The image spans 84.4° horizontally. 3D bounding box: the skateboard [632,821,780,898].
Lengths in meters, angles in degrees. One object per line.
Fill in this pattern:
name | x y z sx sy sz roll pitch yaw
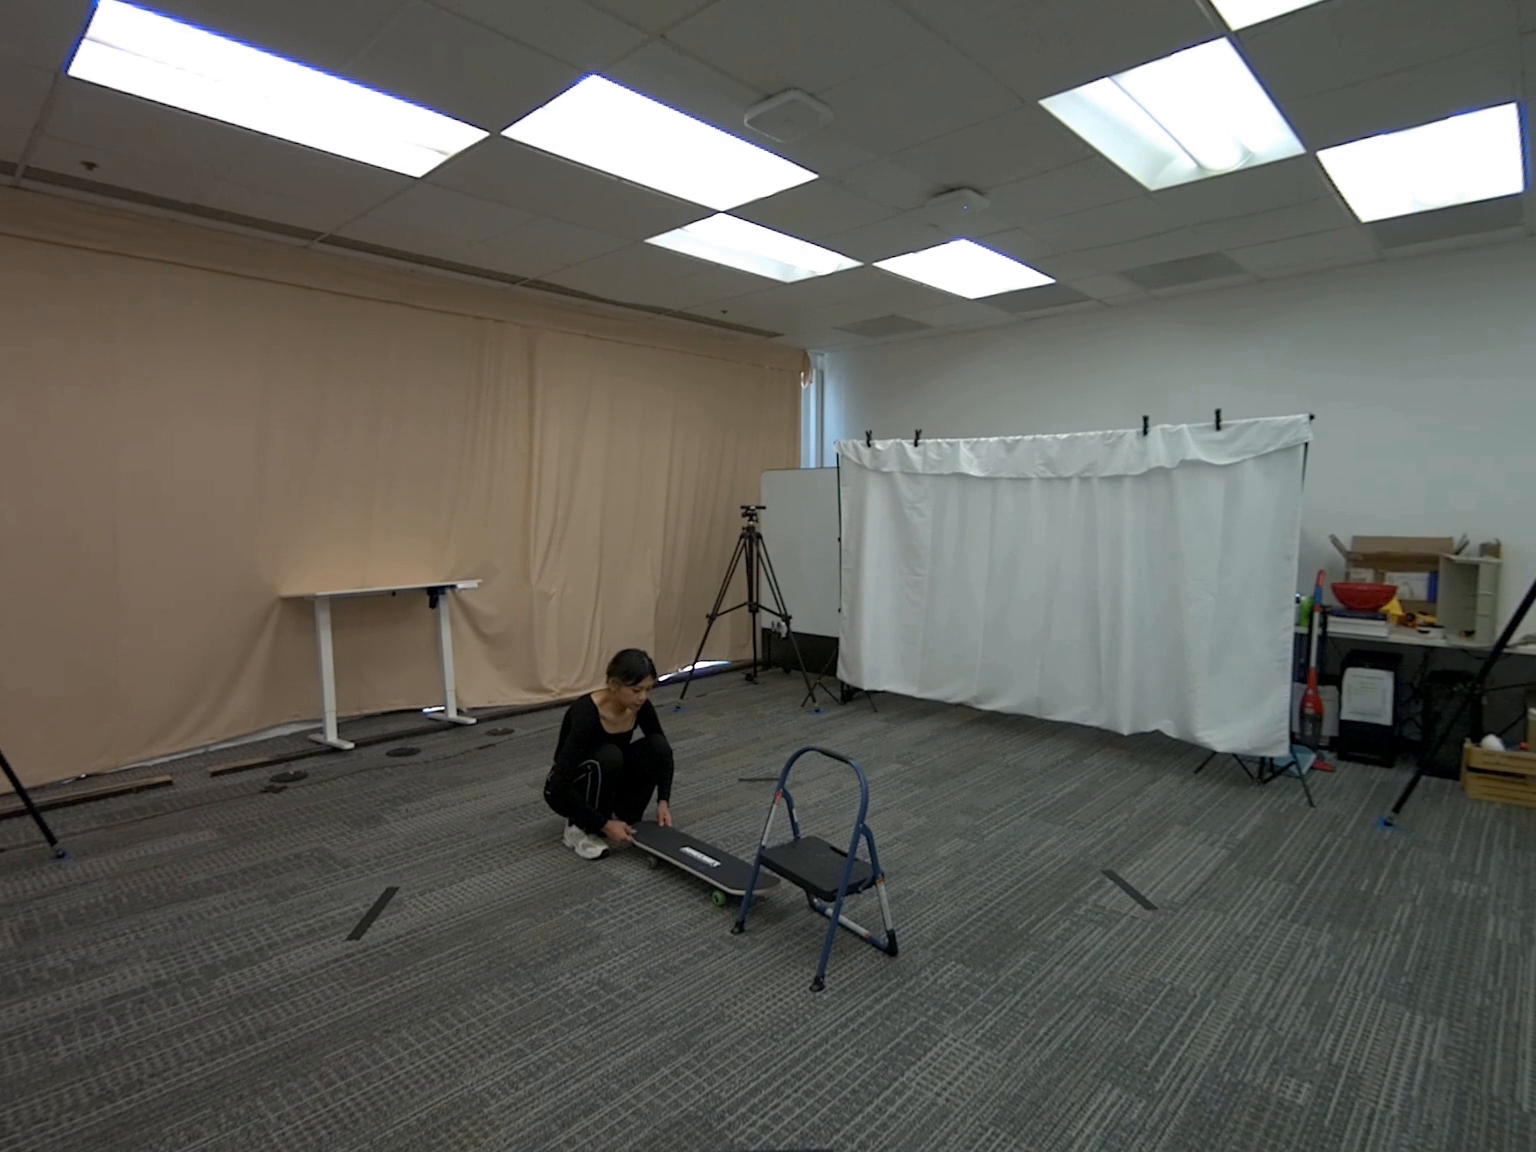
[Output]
skateboard | -0.246 1.077 3.134 0.187 0.110 0.811 -4 5 -41
